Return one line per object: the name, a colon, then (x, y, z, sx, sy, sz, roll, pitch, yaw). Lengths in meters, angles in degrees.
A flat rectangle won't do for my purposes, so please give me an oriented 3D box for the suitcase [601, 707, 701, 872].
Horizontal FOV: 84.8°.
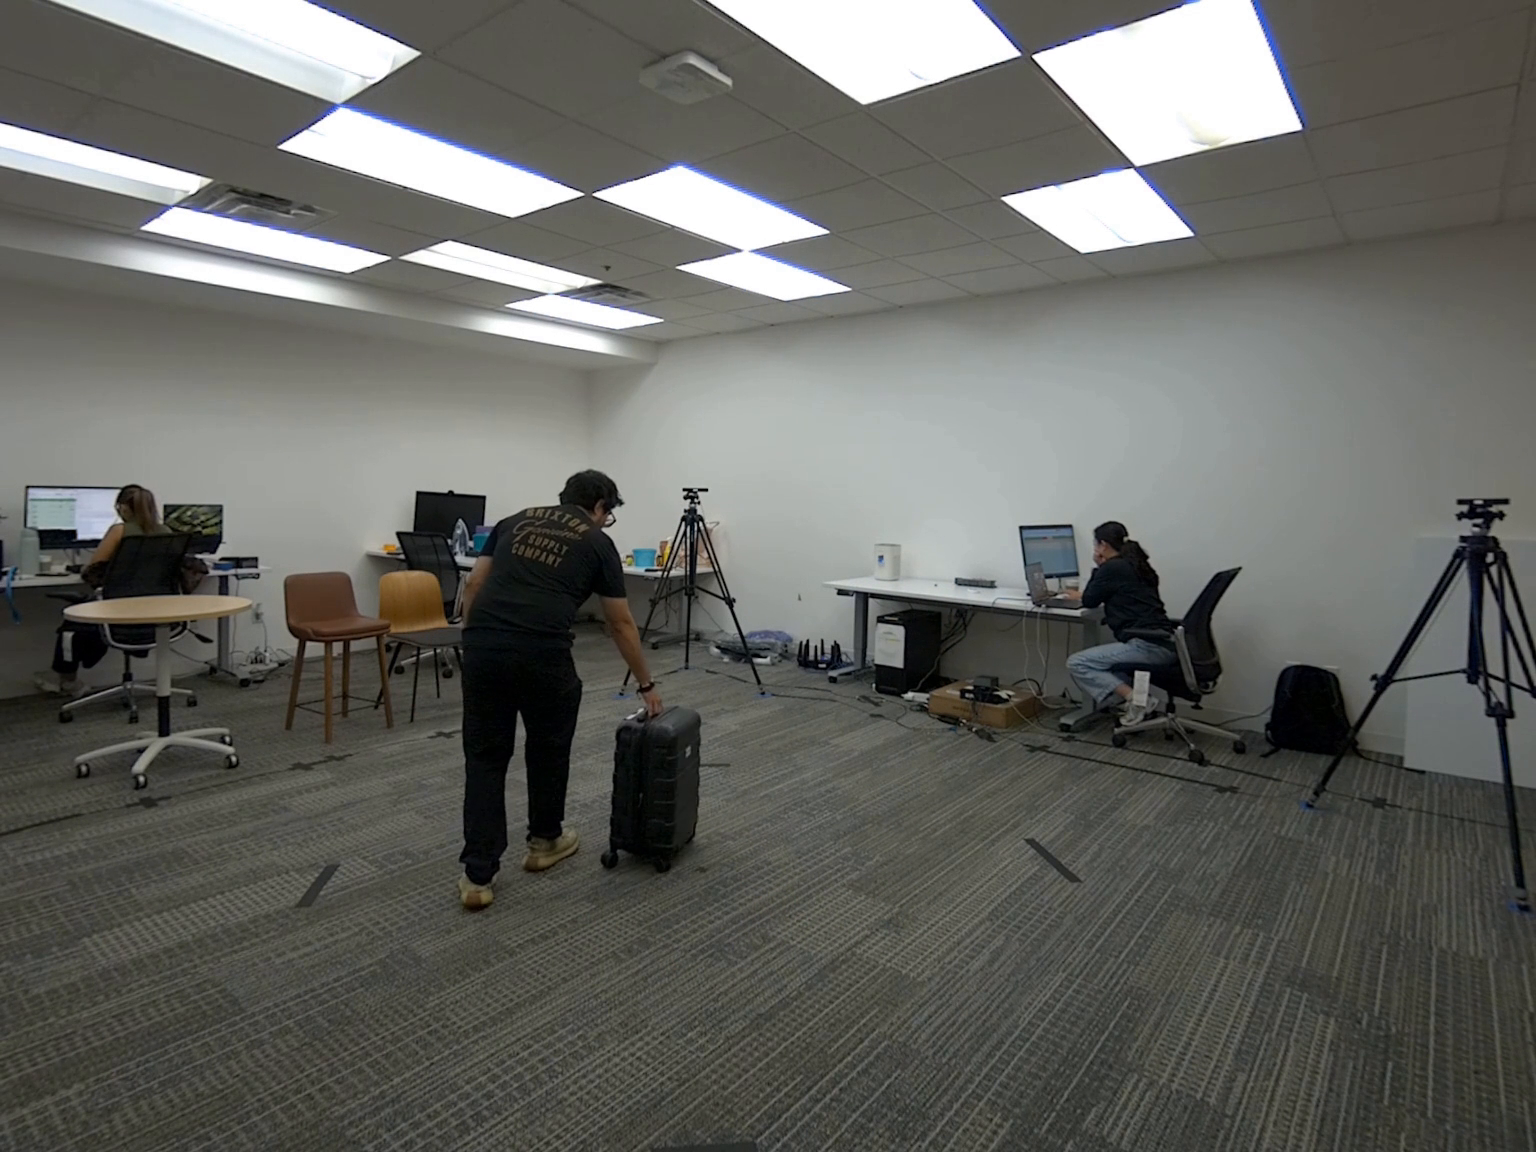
suitcase: (-0.426, 0.793, 3.238, 0.251, 0.547, 0.372, 5, 4, 8)
